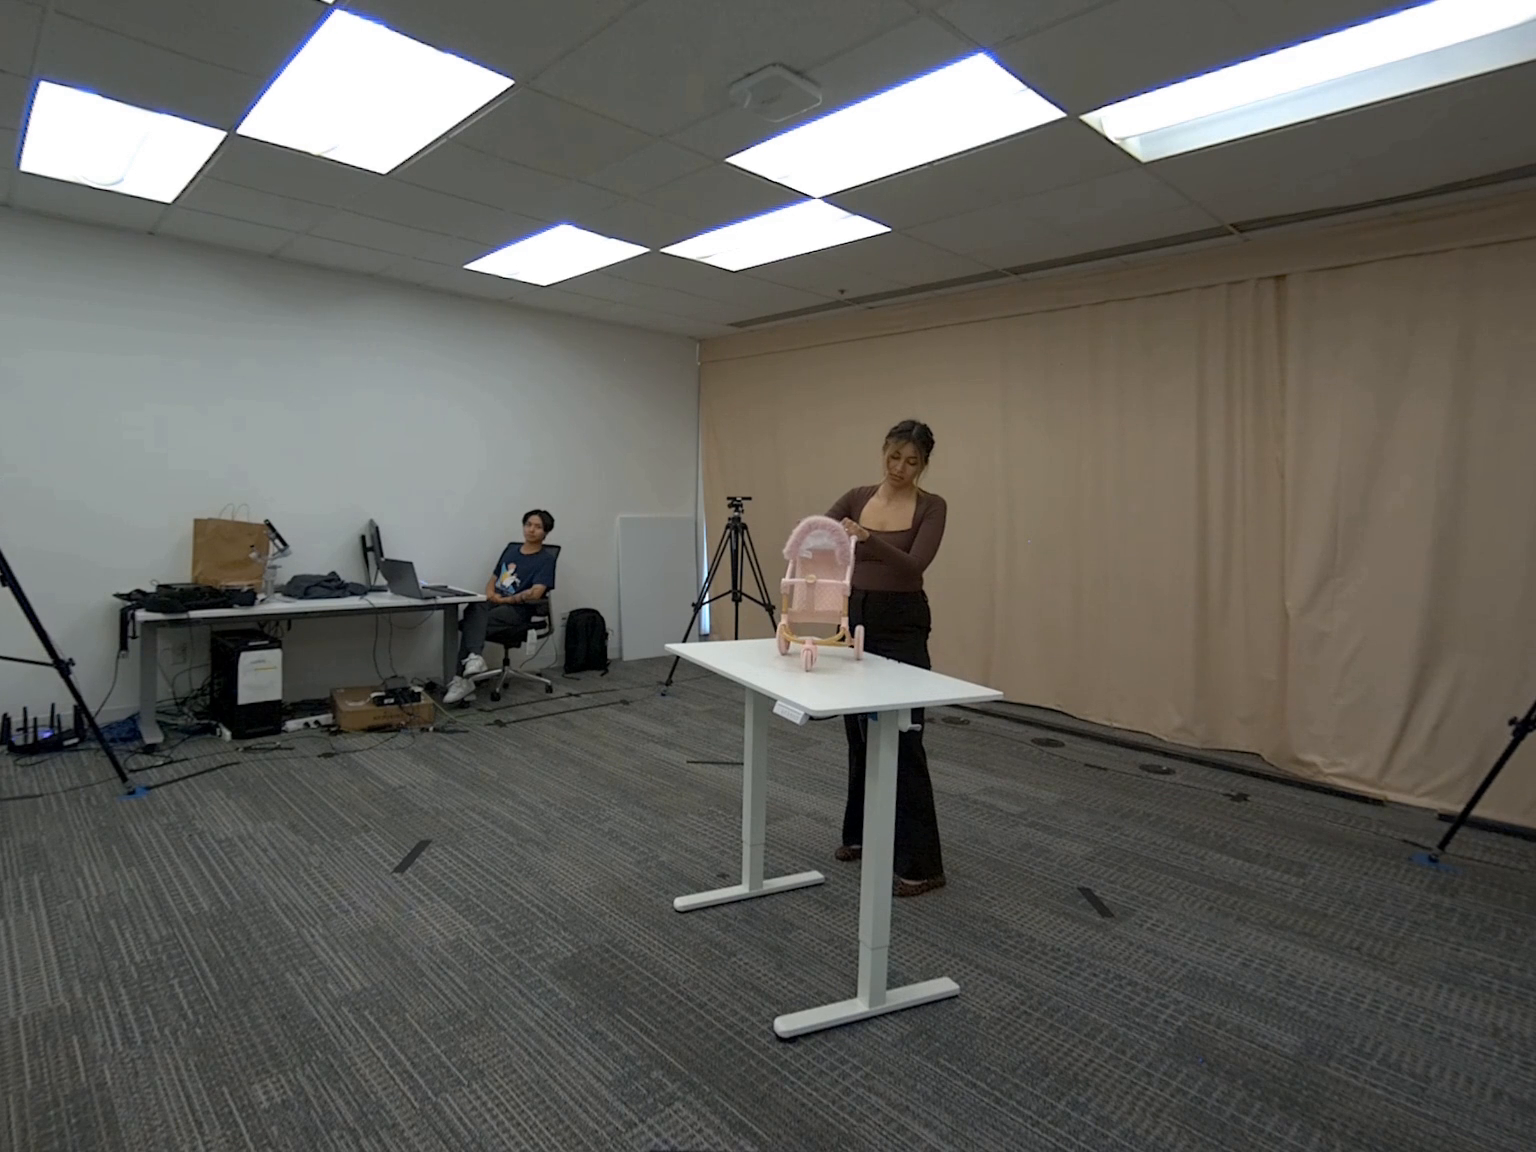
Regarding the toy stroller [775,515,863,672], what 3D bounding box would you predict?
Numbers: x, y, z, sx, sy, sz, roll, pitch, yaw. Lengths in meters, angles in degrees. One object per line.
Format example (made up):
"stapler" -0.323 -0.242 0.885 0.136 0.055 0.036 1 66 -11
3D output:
"toy stroller" 0.156 0.051 2.679 0.285 0.540 0.333 1 -14 17
